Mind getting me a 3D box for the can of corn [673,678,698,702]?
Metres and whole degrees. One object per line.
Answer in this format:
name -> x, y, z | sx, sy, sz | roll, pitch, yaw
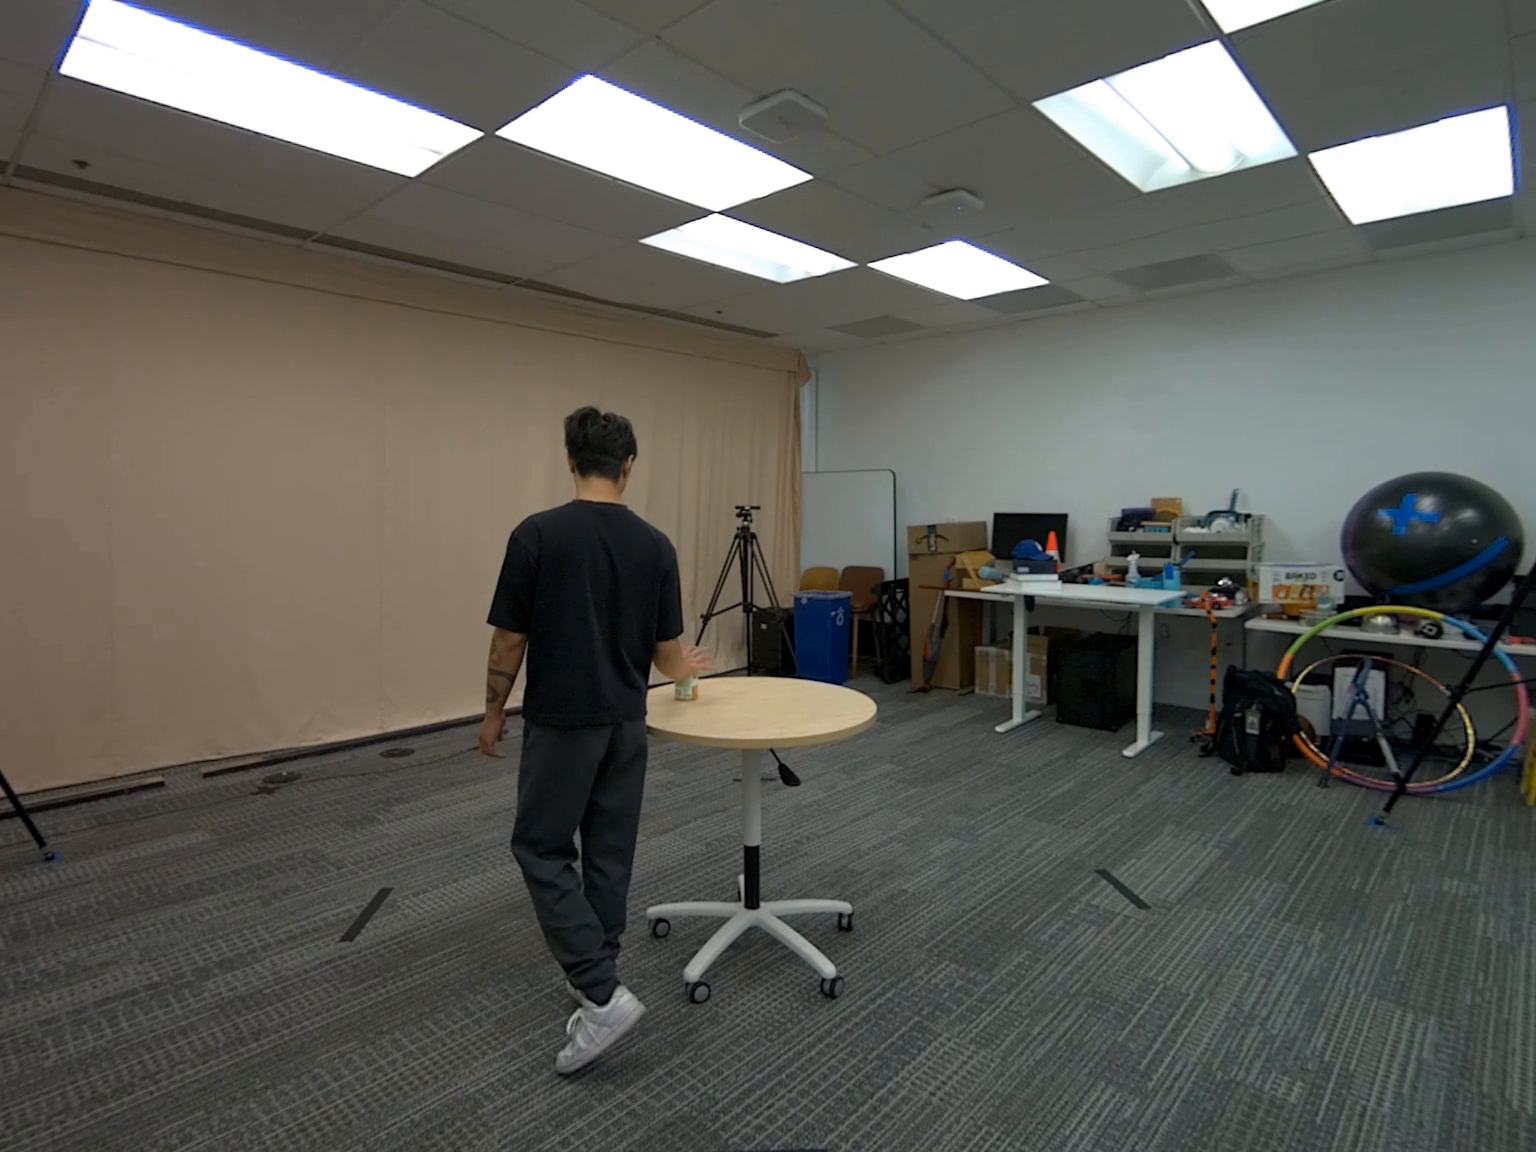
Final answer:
can of corn -> -0.251, 0.335, 2.662 | 0.074, 0.111, 0.074 | -3, 4, -2
